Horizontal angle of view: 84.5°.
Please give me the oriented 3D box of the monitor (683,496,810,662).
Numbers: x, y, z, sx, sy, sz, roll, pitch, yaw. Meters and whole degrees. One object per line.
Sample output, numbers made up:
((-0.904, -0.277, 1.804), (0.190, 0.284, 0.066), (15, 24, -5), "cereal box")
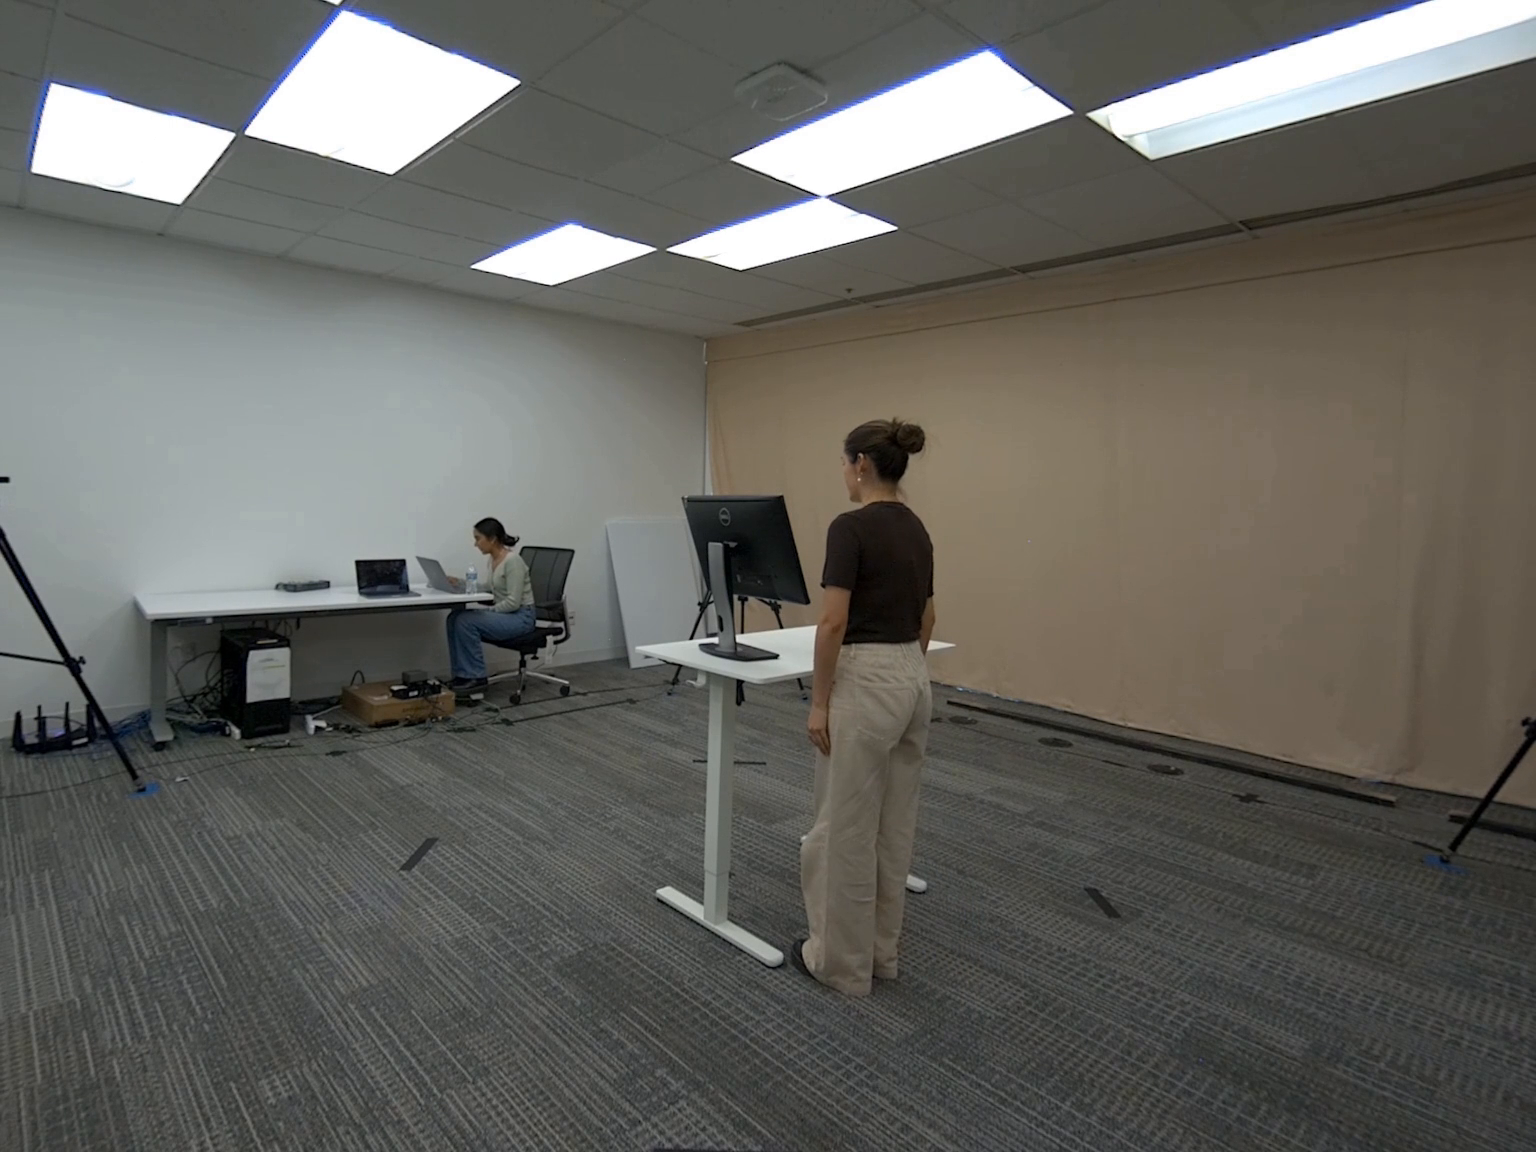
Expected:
((-0.119, 0.002, 2.715), (0.183, 0.520, 0.552), (-7, 7, -36), "monitor")
